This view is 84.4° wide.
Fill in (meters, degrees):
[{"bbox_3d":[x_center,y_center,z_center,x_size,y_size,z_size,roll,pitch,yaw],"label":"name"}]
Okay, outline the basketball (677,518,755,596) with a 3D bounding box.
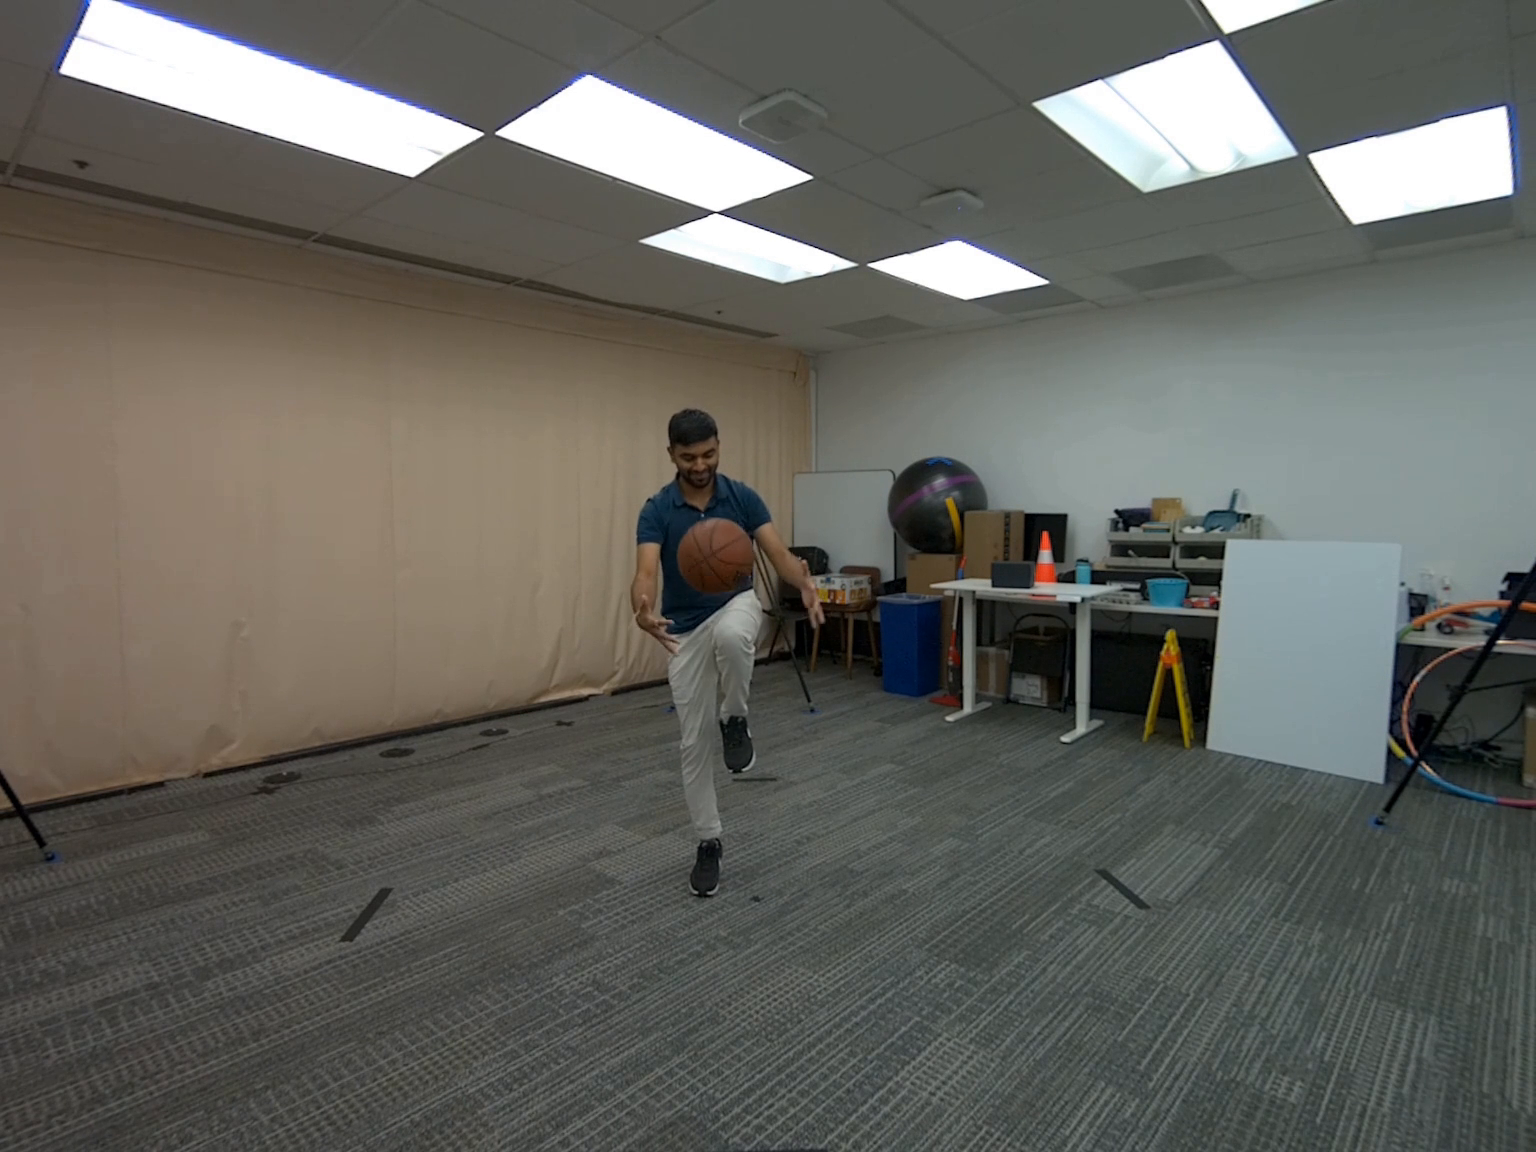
[{"bbox_3d":[-0.163,-0.054,2.585,0.236,0.235,0.237,0,4,-2],"label":"basketball"}]
